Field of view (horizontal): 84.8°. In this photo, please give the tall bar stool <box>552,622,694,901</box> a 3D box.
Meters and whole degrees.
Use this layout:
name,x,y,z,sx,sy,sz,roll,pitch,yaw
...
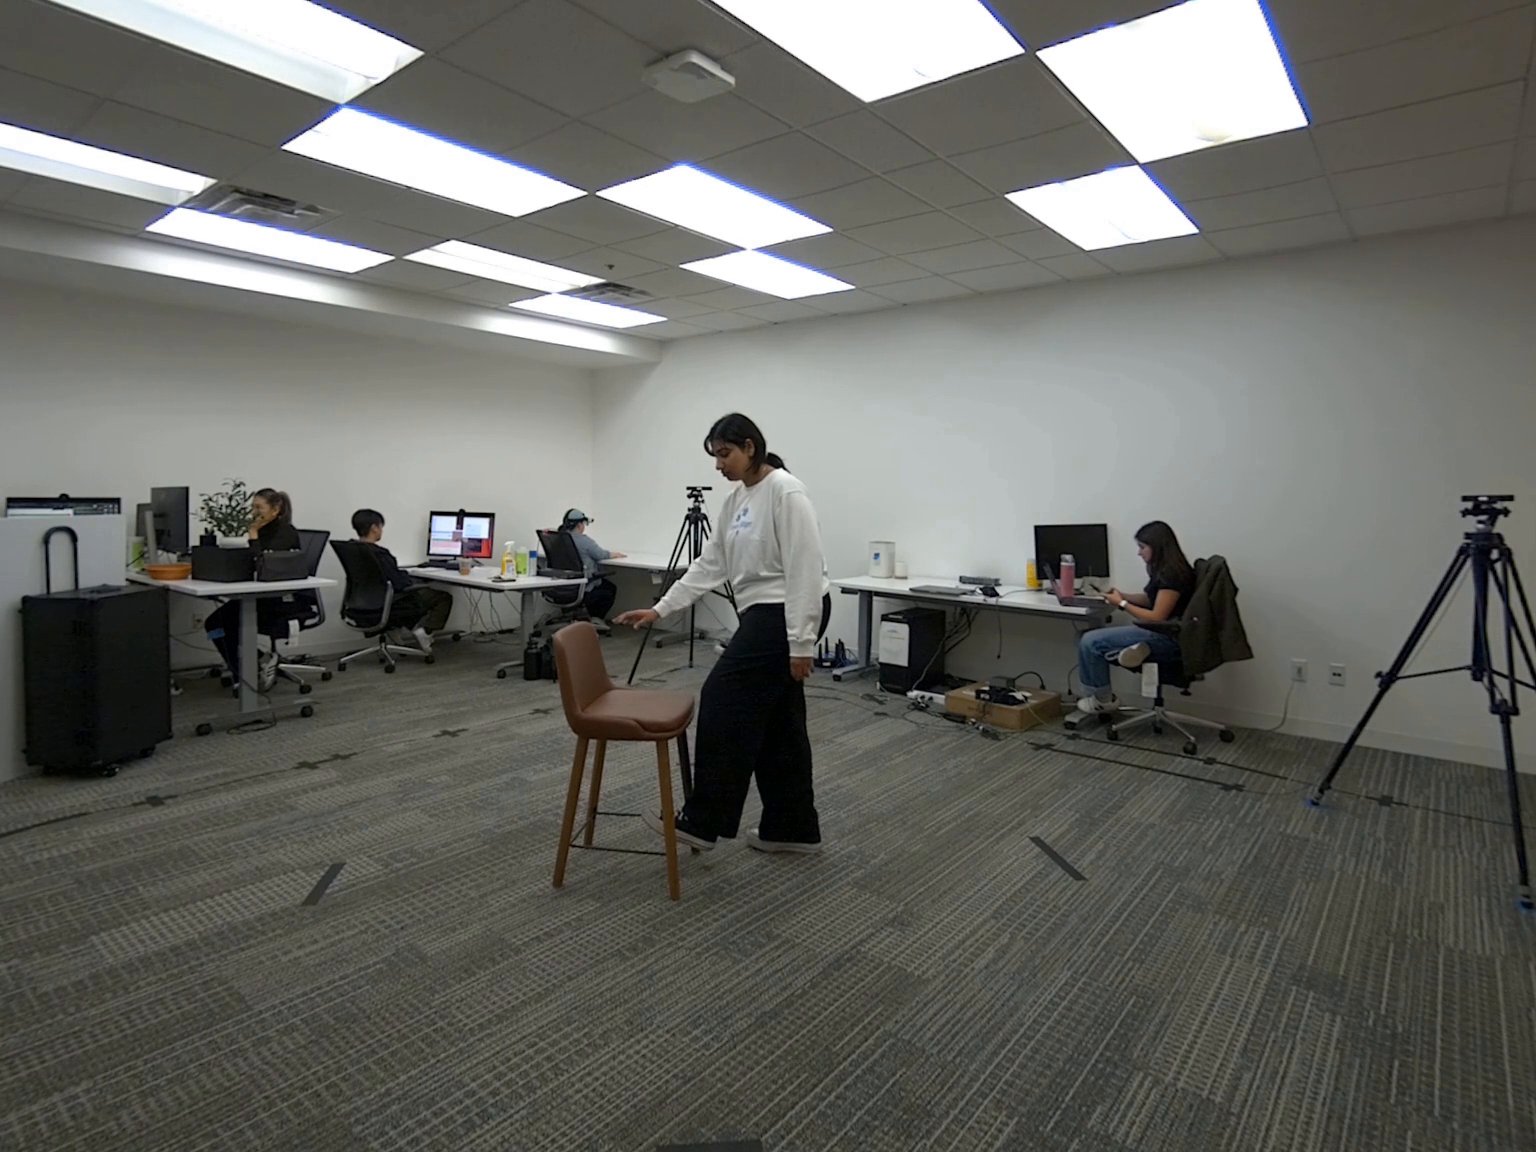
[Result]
name,x,y,z,sx,sy,sz,roll,pitch,yaw
tall bar stool,-0.508,0.631,3.072,0.472,0.888,0.453,0,2,8
